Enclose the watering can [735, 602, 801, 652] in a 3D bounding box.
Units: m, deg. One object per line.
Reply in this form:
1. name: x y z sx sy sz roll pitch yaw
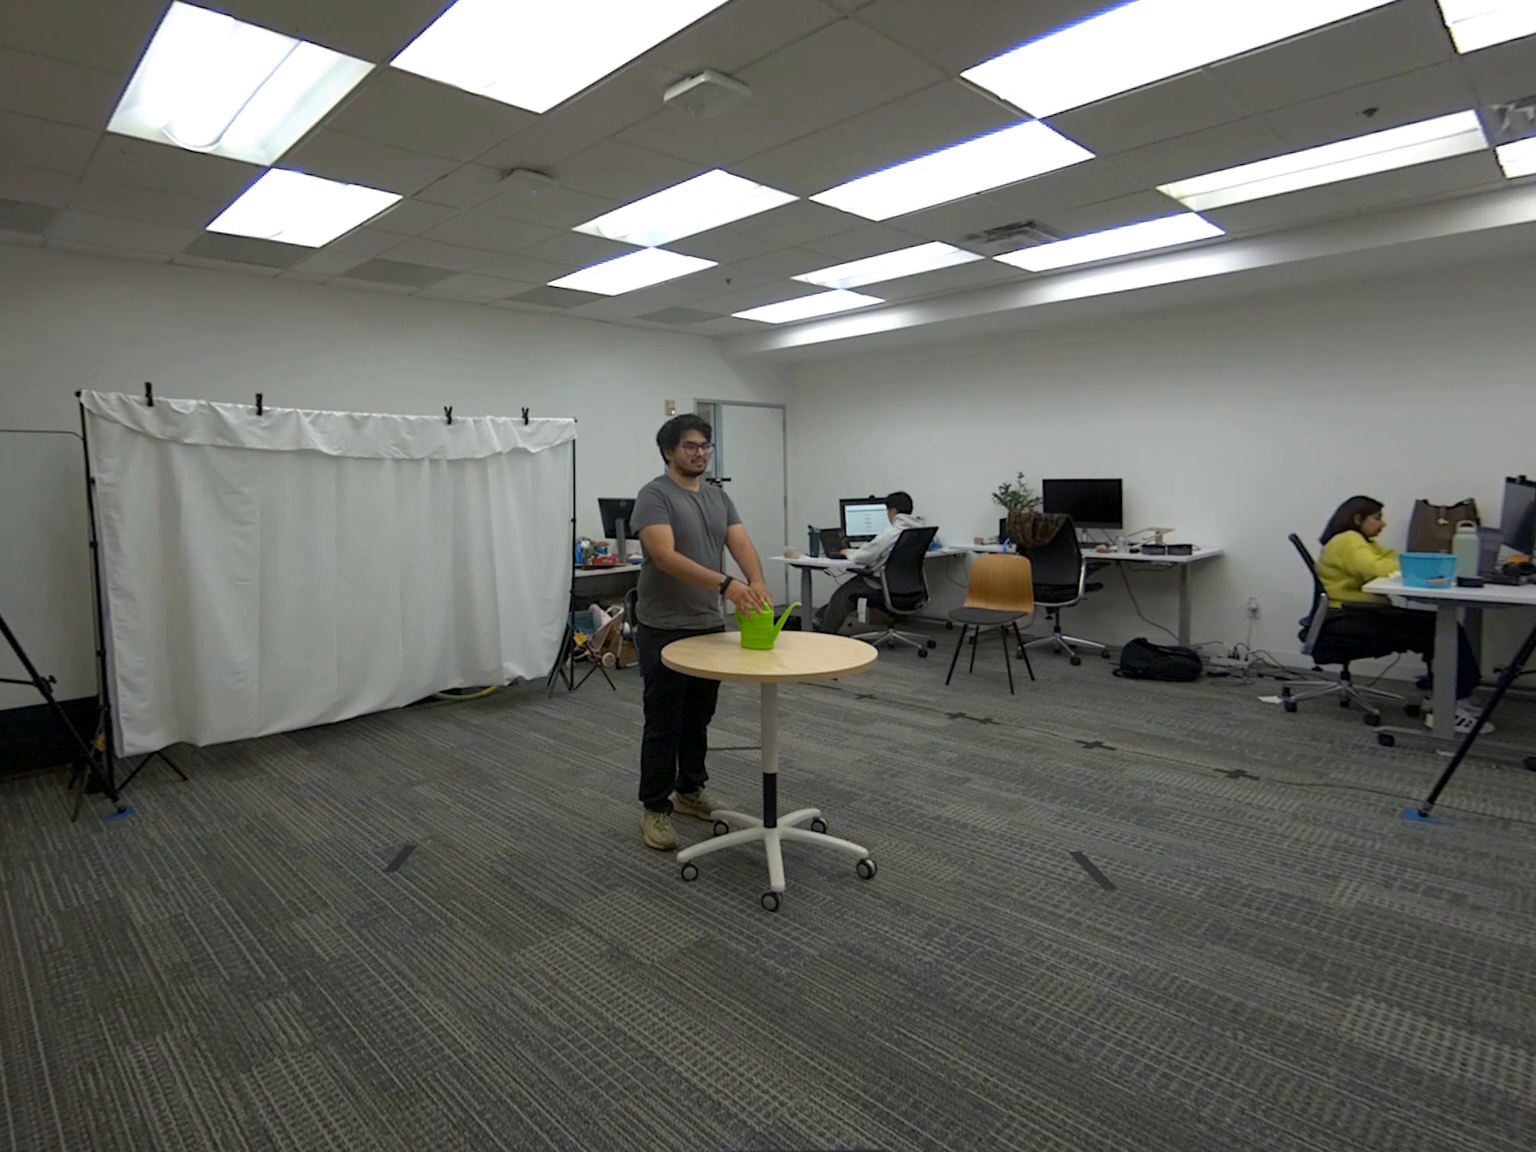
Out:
1. watering can: -0.003 0.178 3.061 0.095 0.176 0.286 -3 3 -43
